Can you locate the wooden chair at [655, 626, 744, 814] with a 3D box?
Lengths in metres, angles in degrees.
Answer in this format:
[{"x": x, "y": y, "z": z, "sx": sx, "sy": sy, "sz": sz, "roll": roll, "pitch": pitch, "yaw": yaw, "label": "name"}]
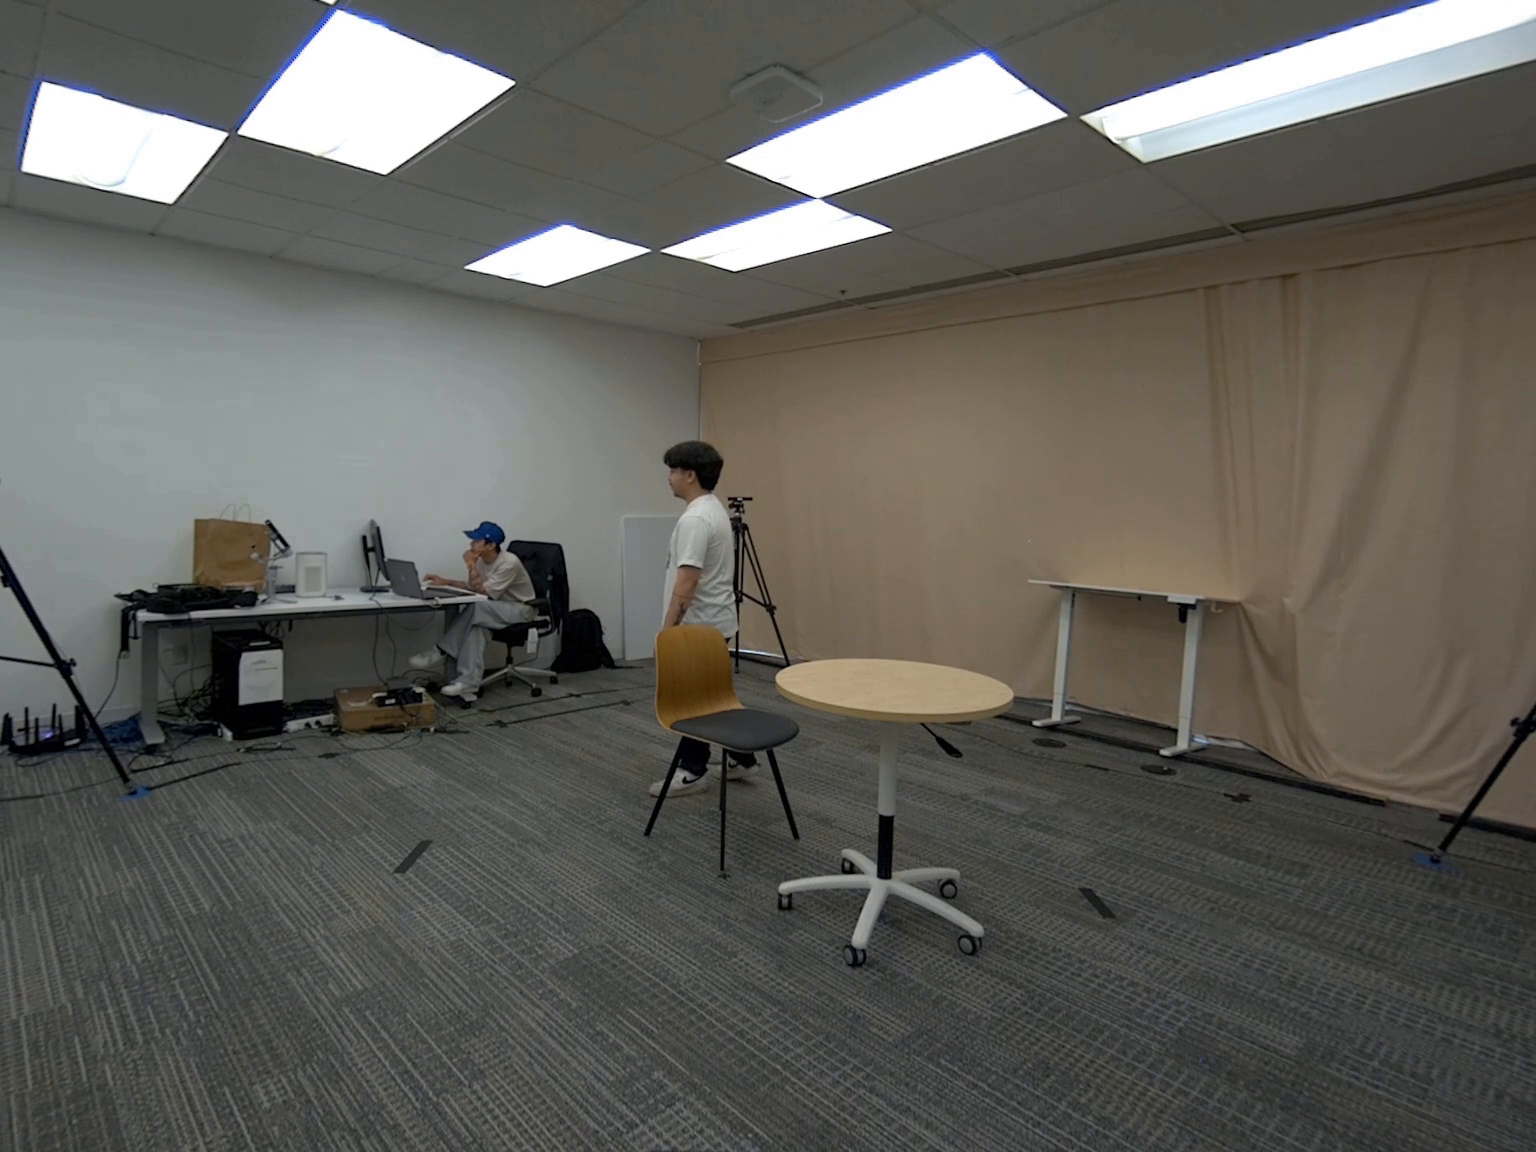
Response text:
[{"x": -0.179, "y": 0.649, "z": 3.426, "sx": 0.535, "sy": 0.877, "sz": 0.467, "roll": -2, "pitch": 0, "yaw": 44, "label": "wooden chair"}]
